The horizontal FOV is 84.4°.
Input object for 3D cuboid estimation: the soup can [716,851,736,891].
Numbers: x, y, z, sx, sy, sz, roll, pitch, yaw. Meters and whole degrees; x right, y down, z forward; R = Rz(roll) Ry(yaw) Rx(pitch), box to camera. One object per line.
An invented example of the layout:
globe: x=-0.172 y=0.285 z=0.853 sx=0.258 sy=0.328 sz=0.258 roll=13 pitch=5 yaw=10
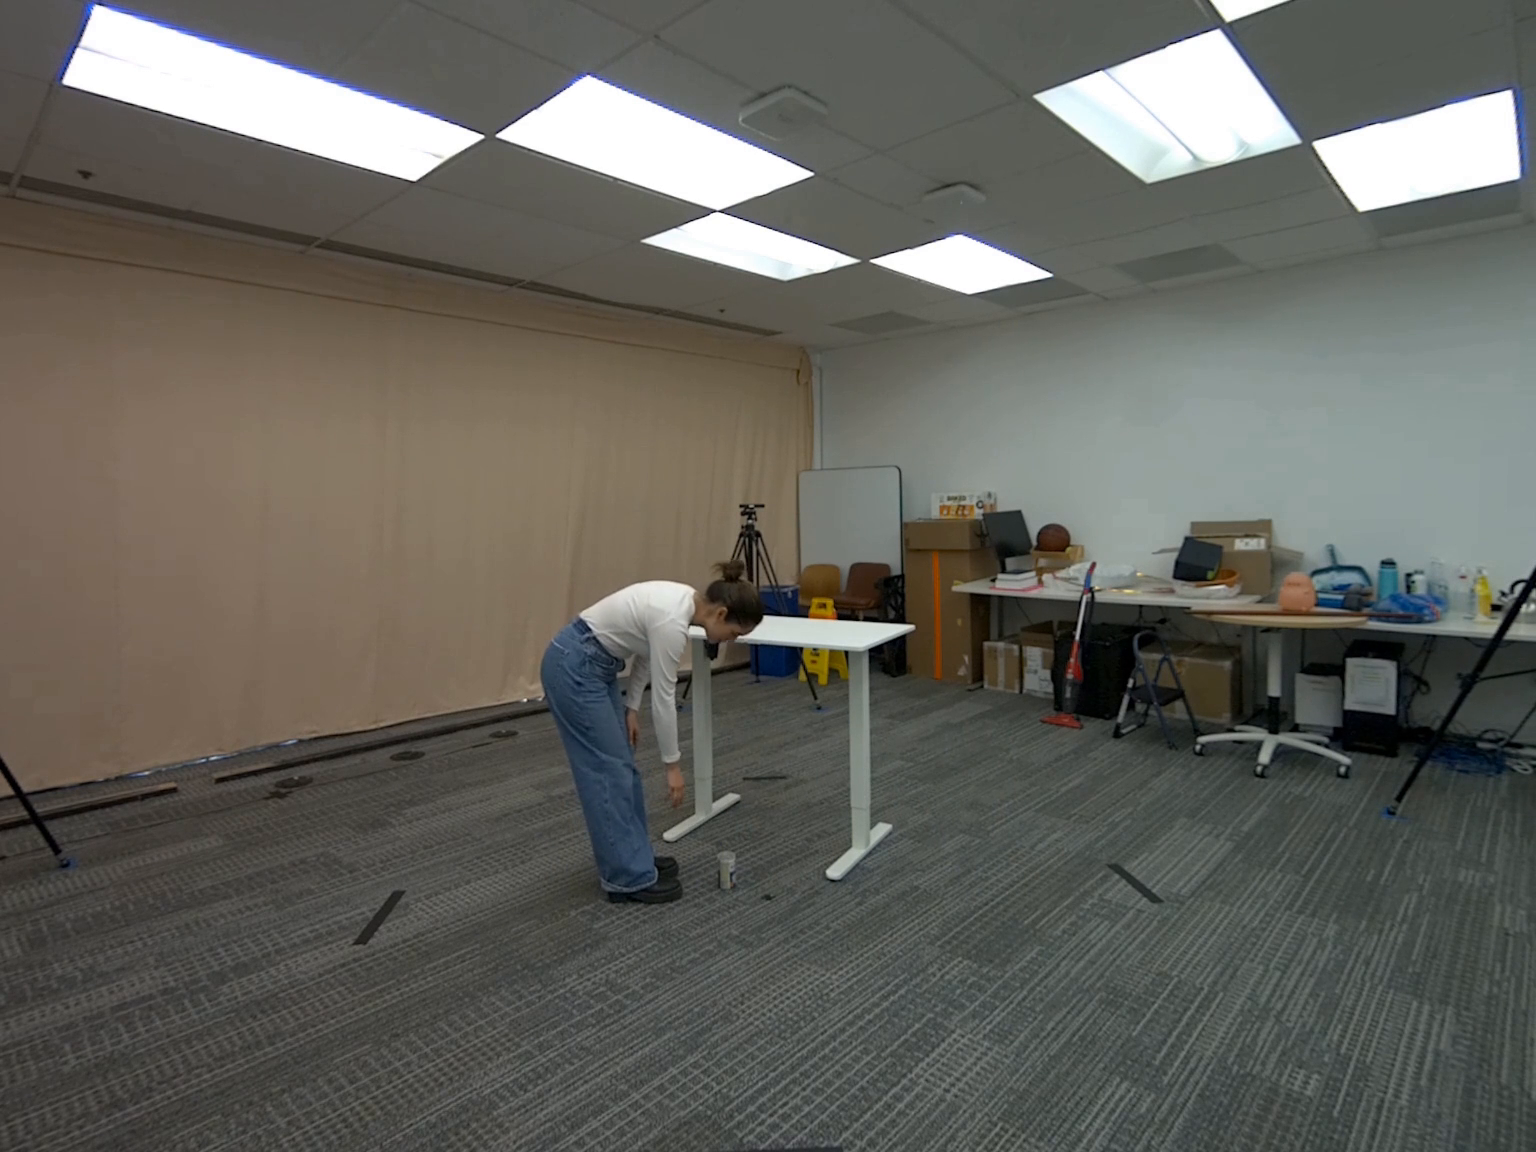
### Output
soup can: x=-0.142 y=1.085 z=3.071 sx=0.067 sy=0.121 sz=0.067 roll=-1 pitch=3 yaw=-2
